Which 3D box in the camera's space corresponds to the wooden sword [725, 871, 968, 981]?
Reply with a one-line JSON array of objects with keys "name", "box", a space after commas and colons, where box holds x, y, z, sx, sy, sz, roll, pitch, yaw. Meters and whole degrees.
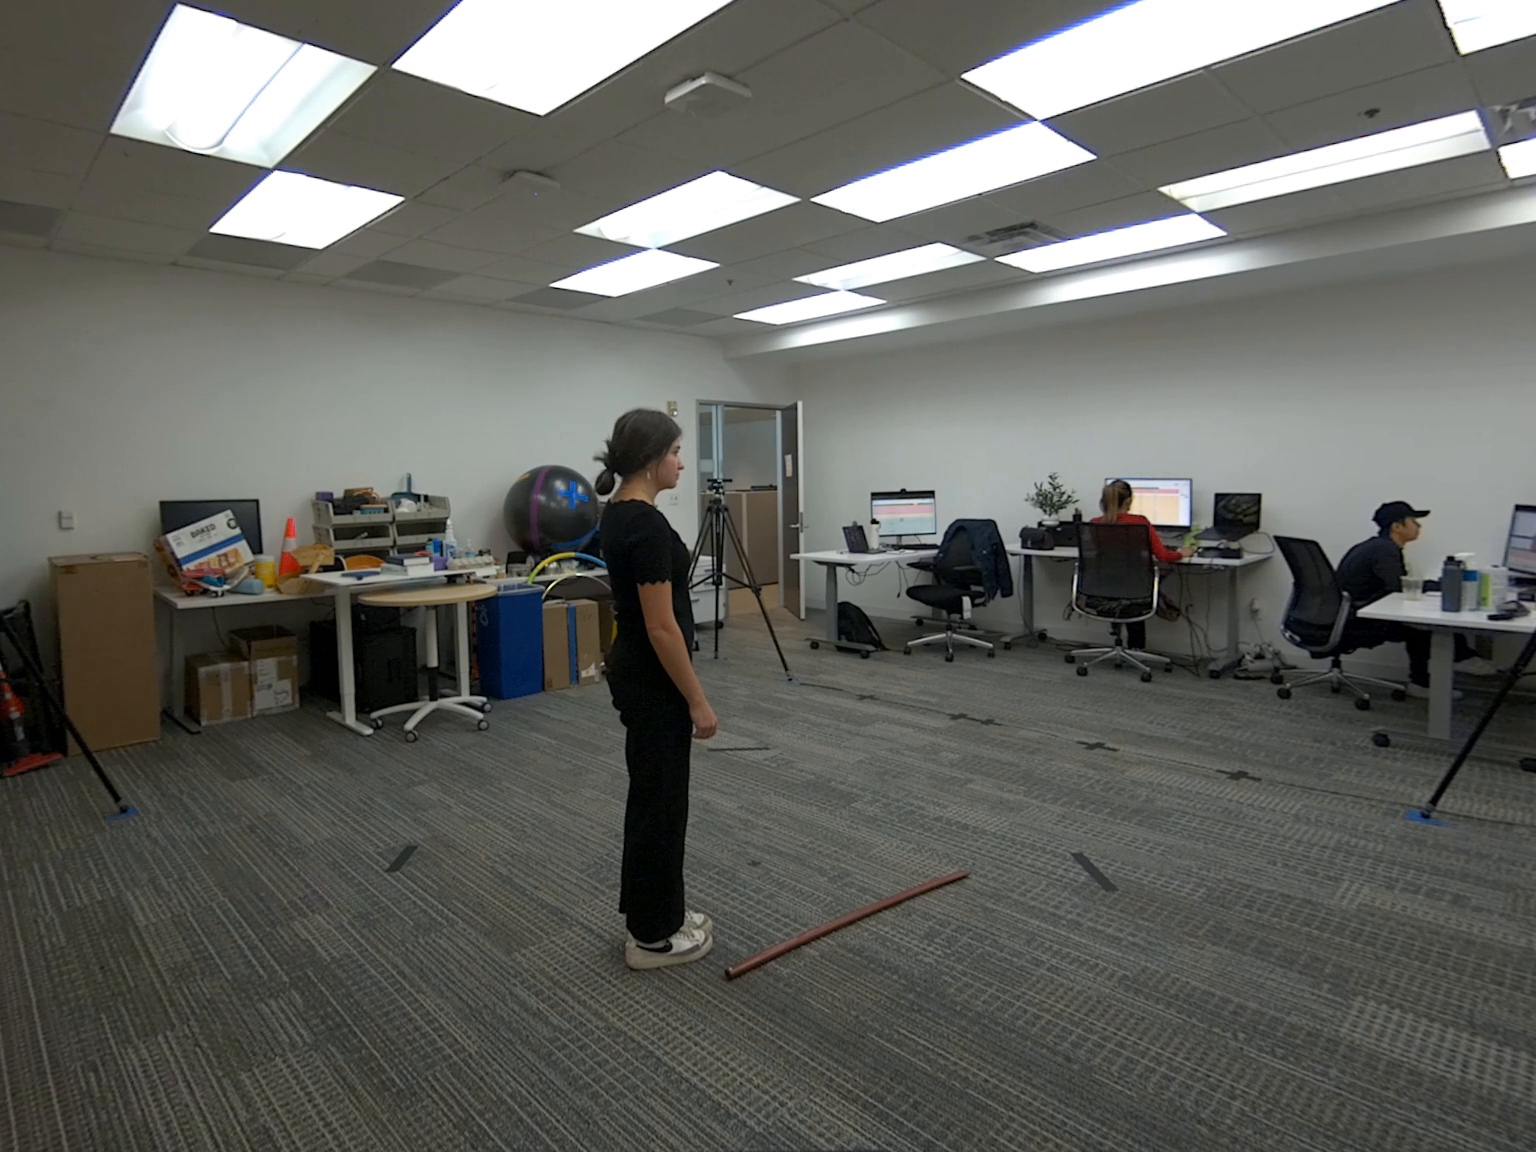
[{"name": "wooden sword", "box": [0.277, 1.063, 2.703, 0.999, 0.024, 0.053, -6, 14, -34]}]
